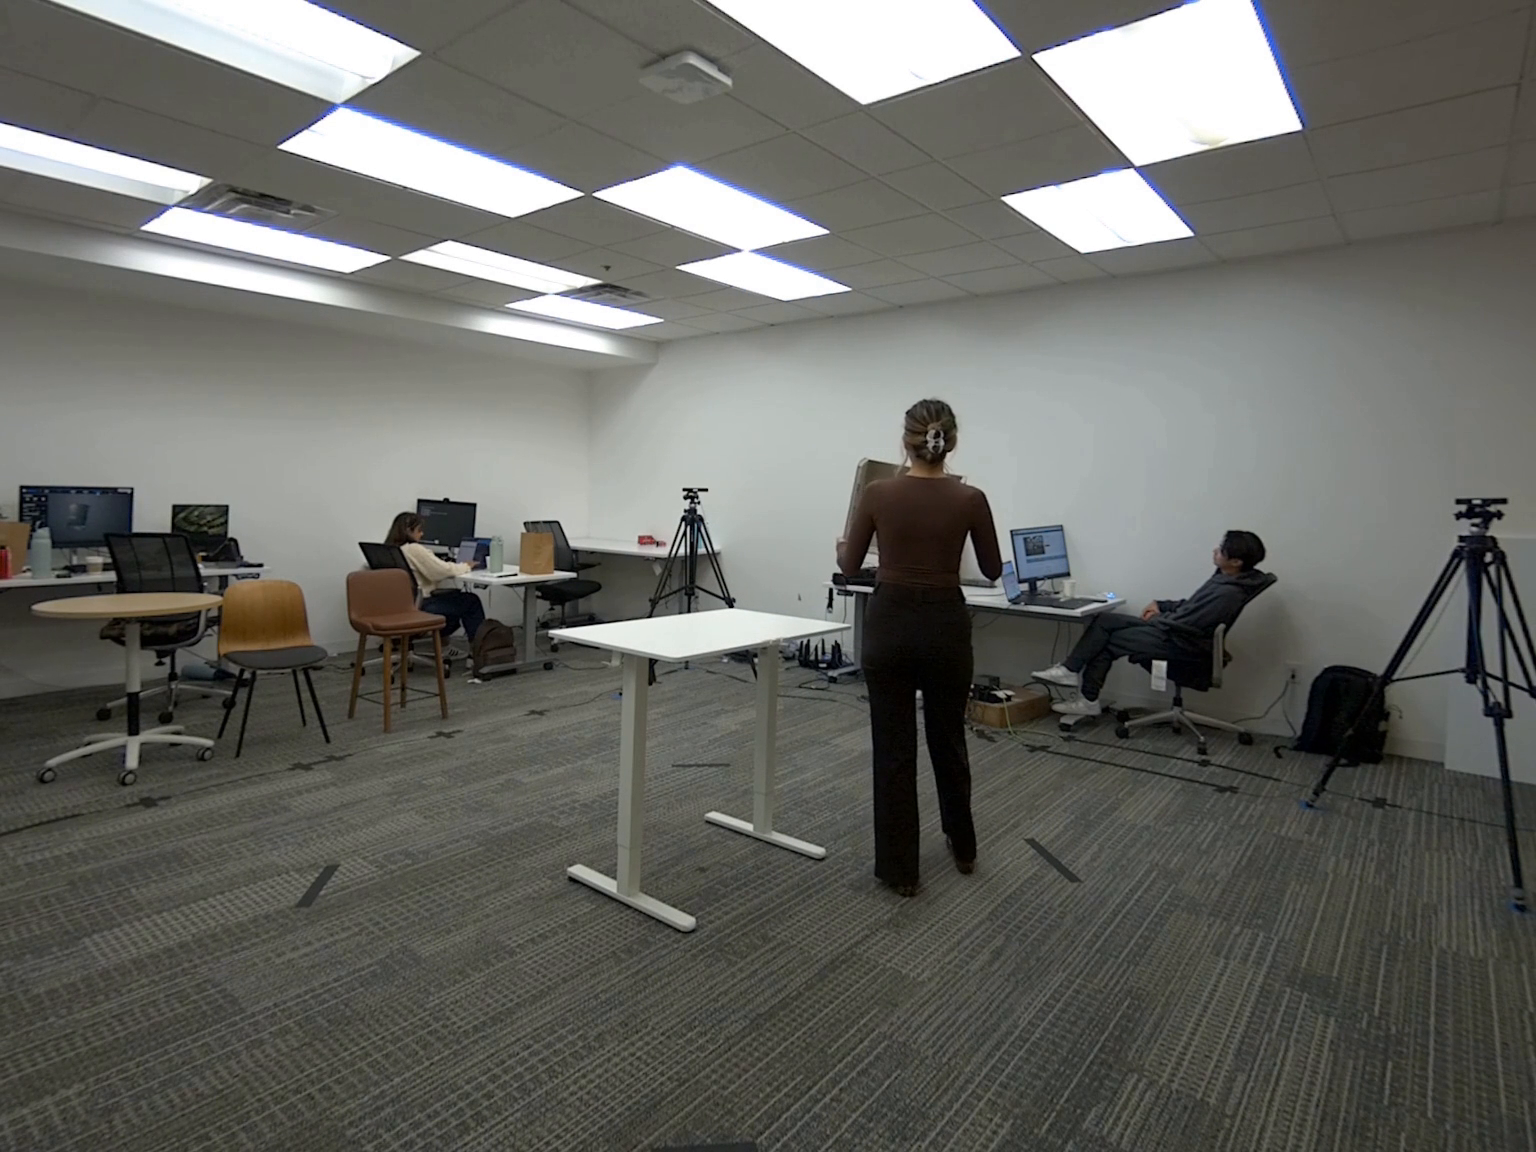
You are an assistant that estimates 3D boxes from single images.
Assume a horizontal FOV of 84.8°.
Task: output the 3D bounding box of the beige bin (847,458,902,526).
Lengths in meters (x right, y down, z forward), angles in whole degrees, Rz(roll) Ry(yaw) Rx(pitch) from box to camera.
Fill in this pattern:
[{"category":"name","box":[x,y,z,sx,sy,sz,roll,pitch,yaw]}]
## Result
[{"category":"beige bin","box":[0.535,-0.257,3.399,0.432,0.376,0.185,13,3,19]}]
